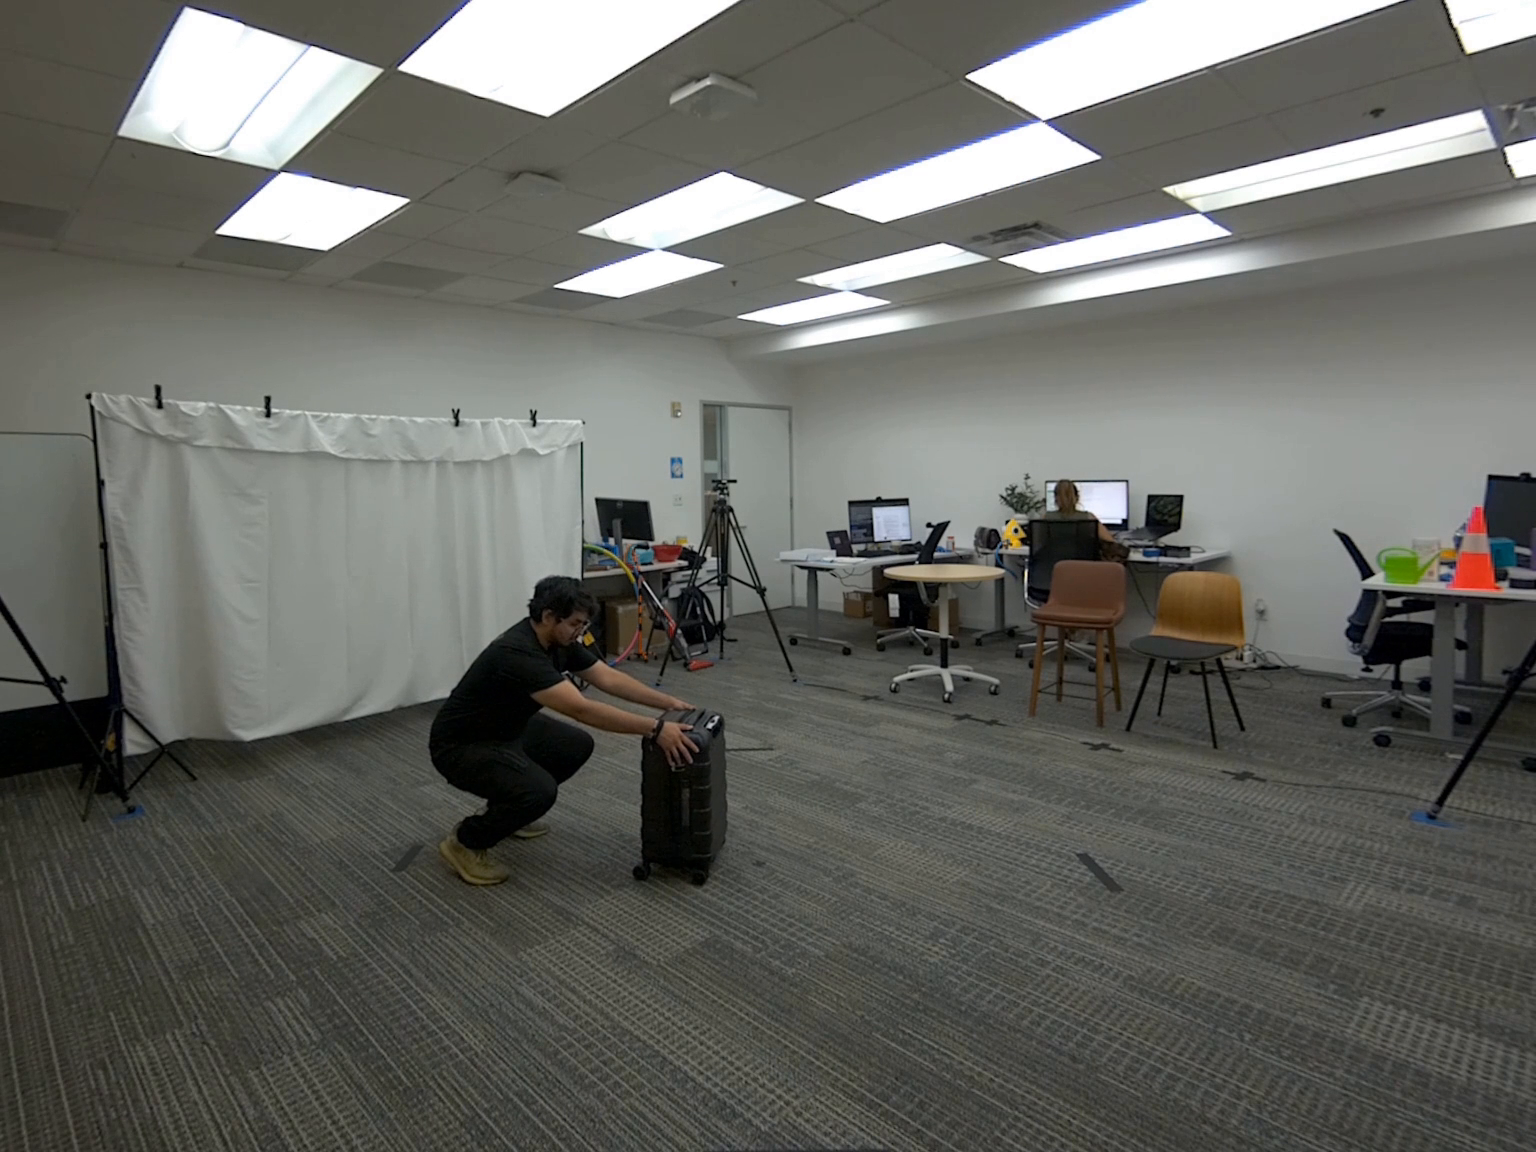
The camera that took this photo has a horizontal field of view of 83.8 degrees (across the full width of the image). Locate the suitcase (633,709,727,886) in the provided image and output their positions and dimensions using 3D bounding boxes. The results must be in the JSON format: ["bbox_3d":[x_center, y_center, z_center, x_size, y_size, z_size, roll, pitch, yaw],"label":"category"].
[{"bbox_3d":[-0.302,0.777,3.105,0.251,0.547,0.374,3,6,8],"label":"suitcase"}]
